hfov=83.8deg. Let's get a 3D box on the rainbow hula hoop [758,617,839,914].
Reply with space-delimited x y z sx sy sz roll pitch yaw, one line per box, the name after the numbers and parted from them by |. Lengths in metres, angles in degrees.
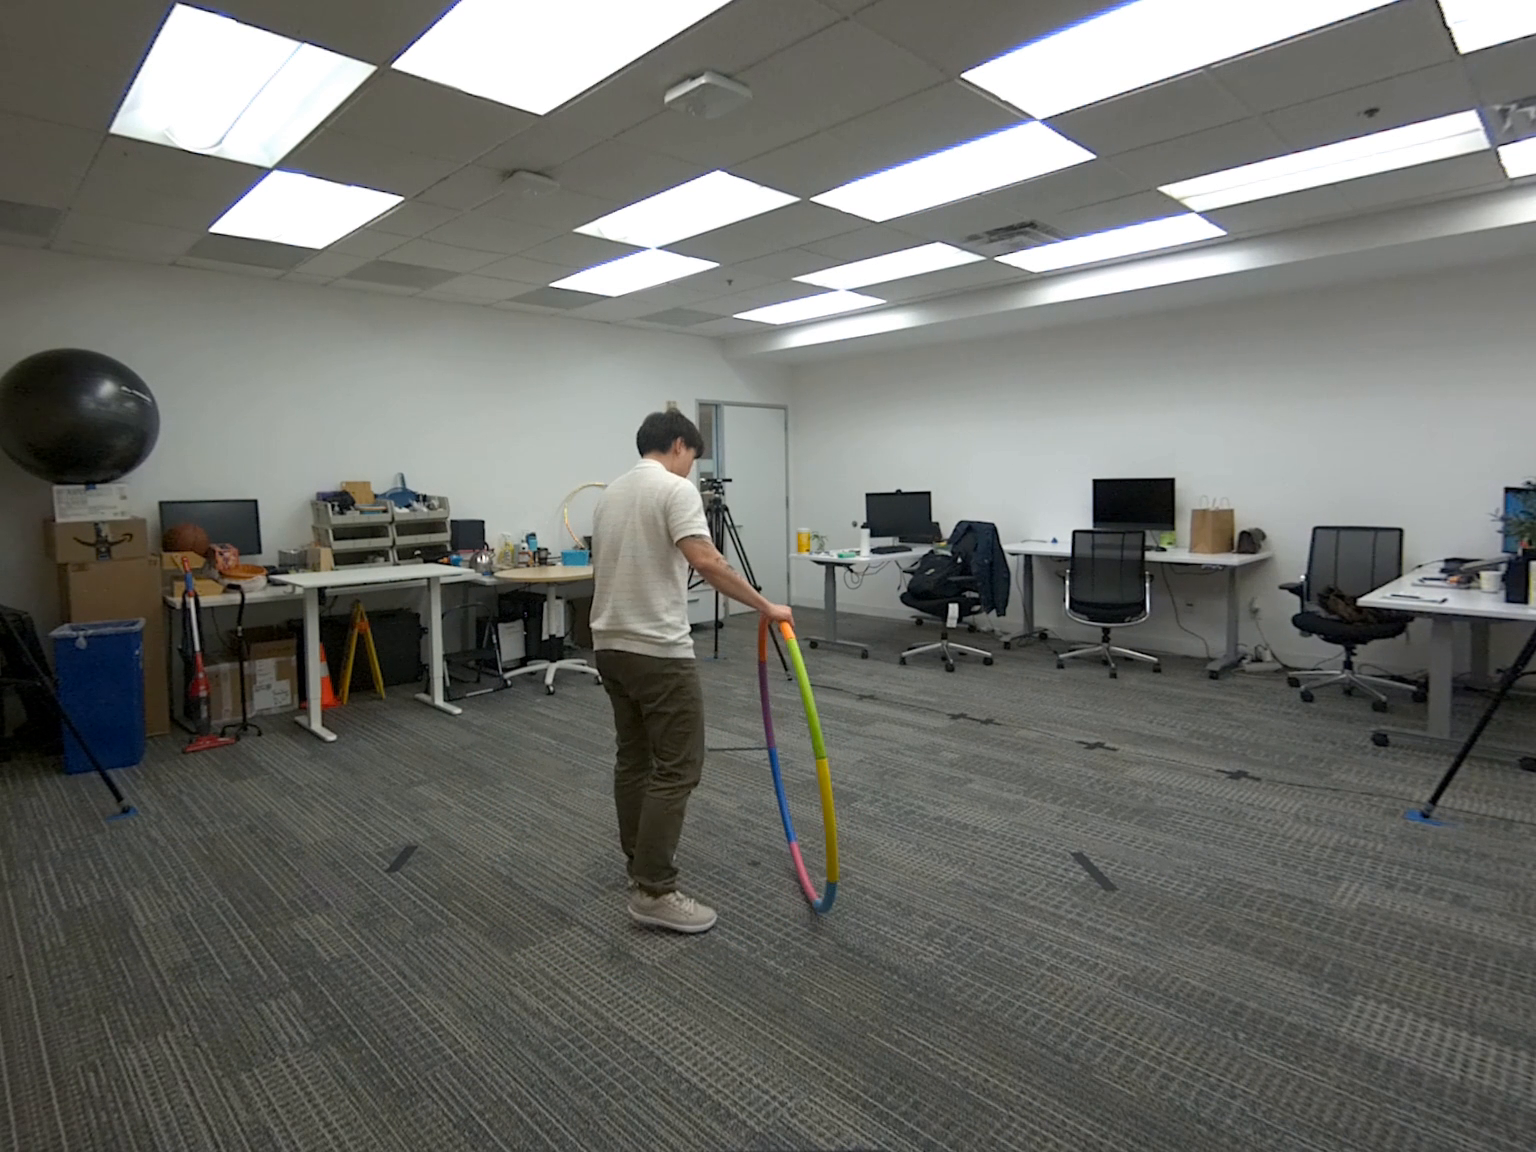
0.077 0.588 2.831 0.035 0.974 0.990 -8 6 -9 | rainbow hula hoop
